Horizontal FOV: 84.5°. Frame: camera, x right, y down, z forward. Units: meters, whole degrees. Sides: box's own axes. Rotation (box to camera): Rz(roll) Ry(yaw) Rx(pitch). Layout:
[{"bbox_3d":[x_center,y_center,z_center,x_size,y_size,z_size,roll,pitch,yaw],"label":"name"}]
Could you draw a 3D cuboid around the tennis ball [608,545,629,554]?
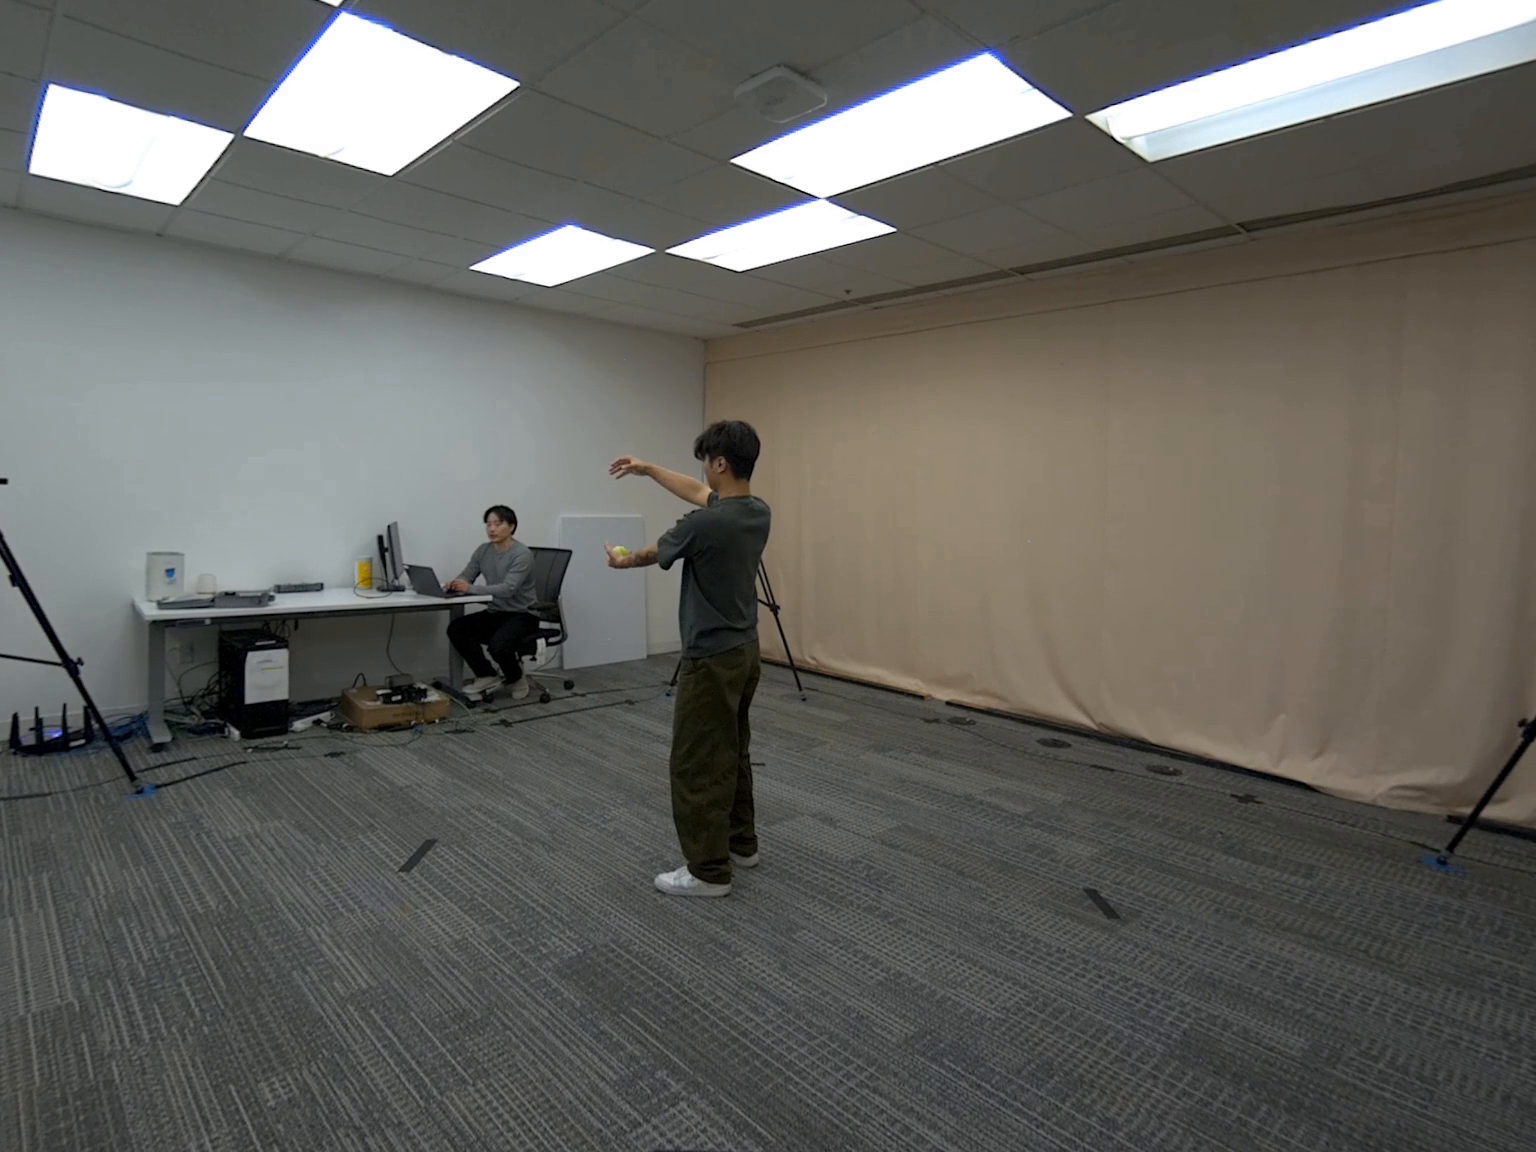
[{"bbox_3d":[-0.595,-0.156,3.321,0.066,0.066,0.067,1,4,-1],"label":"tennis ball"}]
